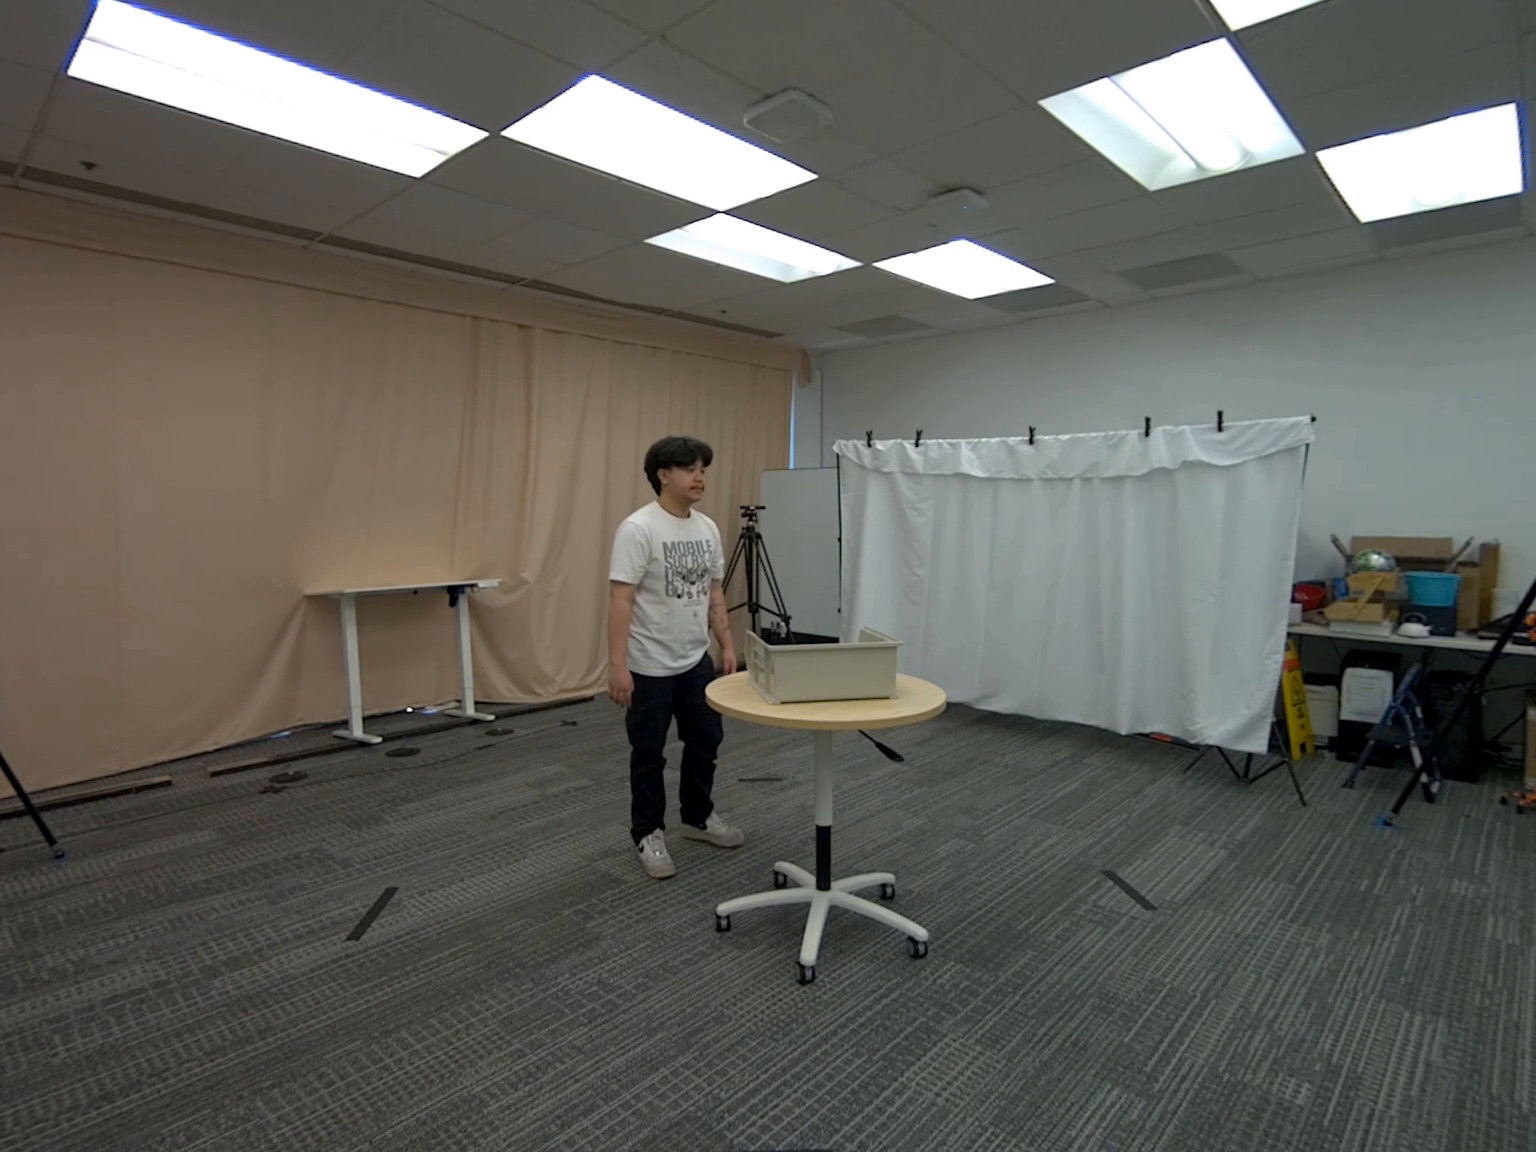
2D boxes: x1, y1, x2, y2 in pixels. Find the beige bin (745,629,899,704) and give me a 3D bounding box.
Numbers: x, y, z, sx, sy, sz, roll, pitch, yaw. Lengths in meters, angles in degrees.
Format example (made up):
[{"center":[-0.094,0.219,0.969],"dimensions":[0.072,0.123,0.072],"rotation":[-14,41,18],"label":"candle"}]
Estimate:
[{"center":[0.170,0.277,2.730],"dimensions":[0.417,0.188,0.383],"rotation":[-1,7,-12],"label":"beige bin"}]
